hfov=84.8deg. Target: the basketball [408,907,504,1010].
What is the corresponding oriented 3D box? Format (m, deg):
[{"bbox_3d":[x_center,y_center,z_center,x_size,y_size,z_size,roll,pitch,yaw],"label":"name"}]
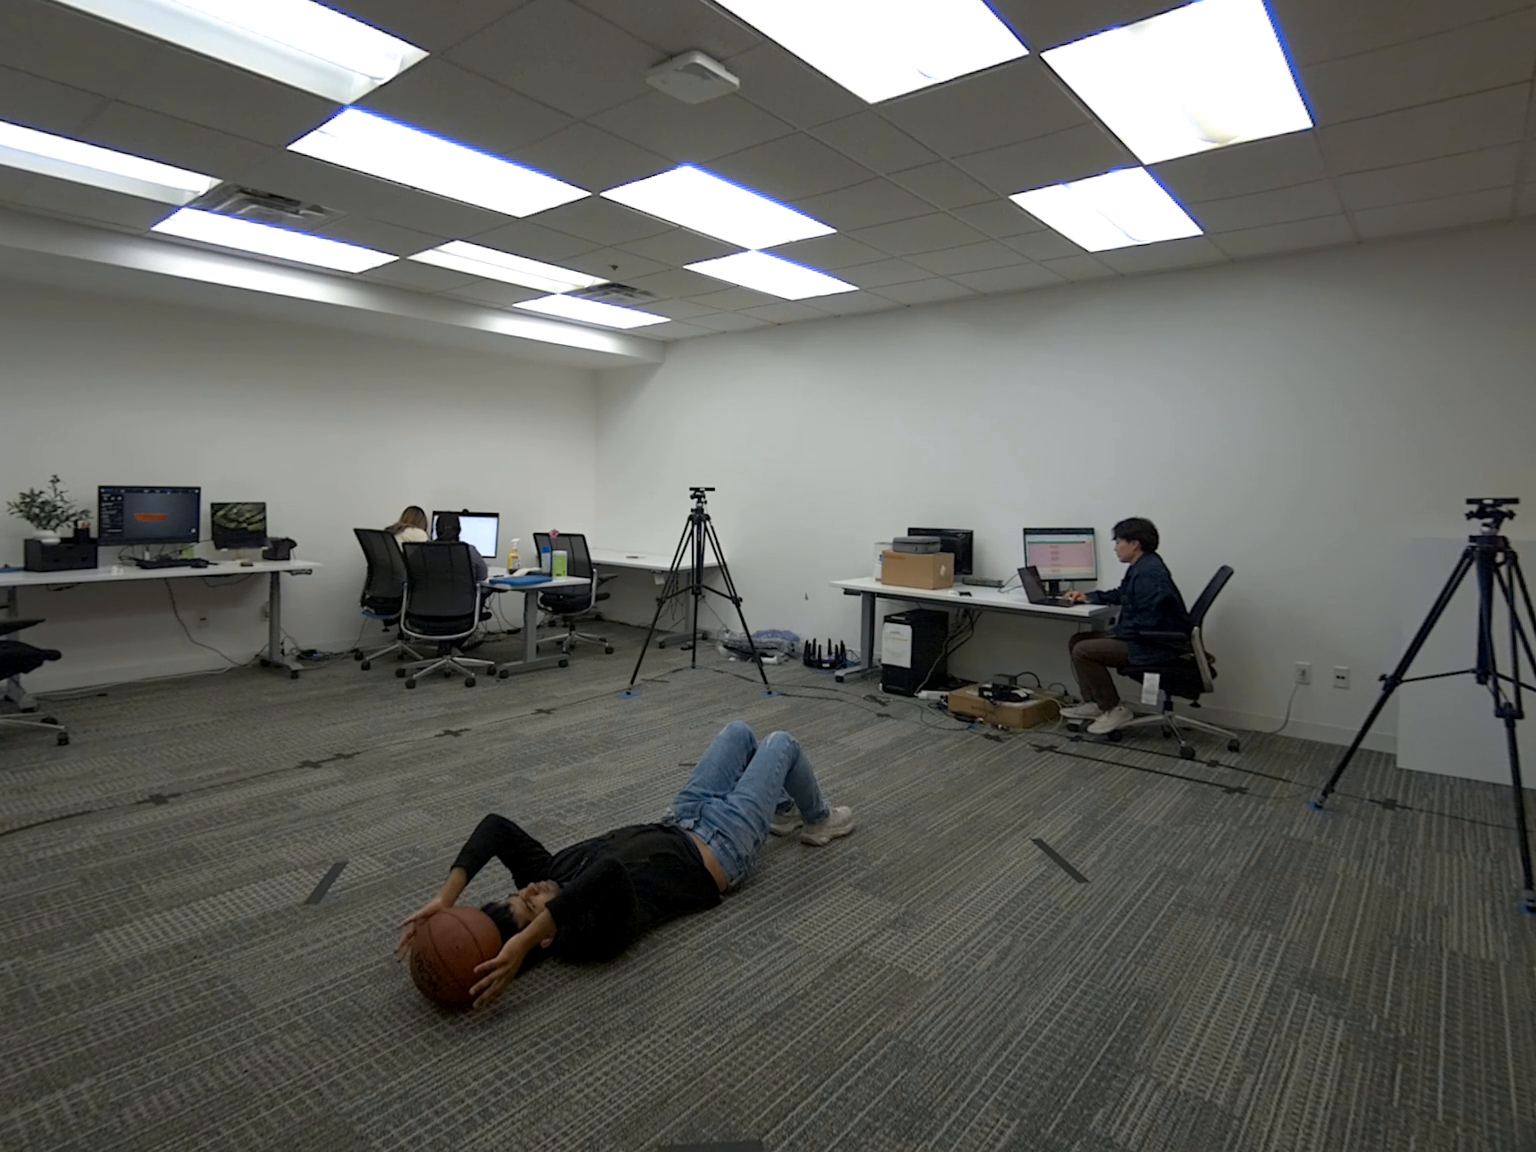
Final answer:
[{"bbox_3d":[-0.846,1.019,2.295,0.235,0.235,0.237,1,4,-2],"label":"basketball"}]
